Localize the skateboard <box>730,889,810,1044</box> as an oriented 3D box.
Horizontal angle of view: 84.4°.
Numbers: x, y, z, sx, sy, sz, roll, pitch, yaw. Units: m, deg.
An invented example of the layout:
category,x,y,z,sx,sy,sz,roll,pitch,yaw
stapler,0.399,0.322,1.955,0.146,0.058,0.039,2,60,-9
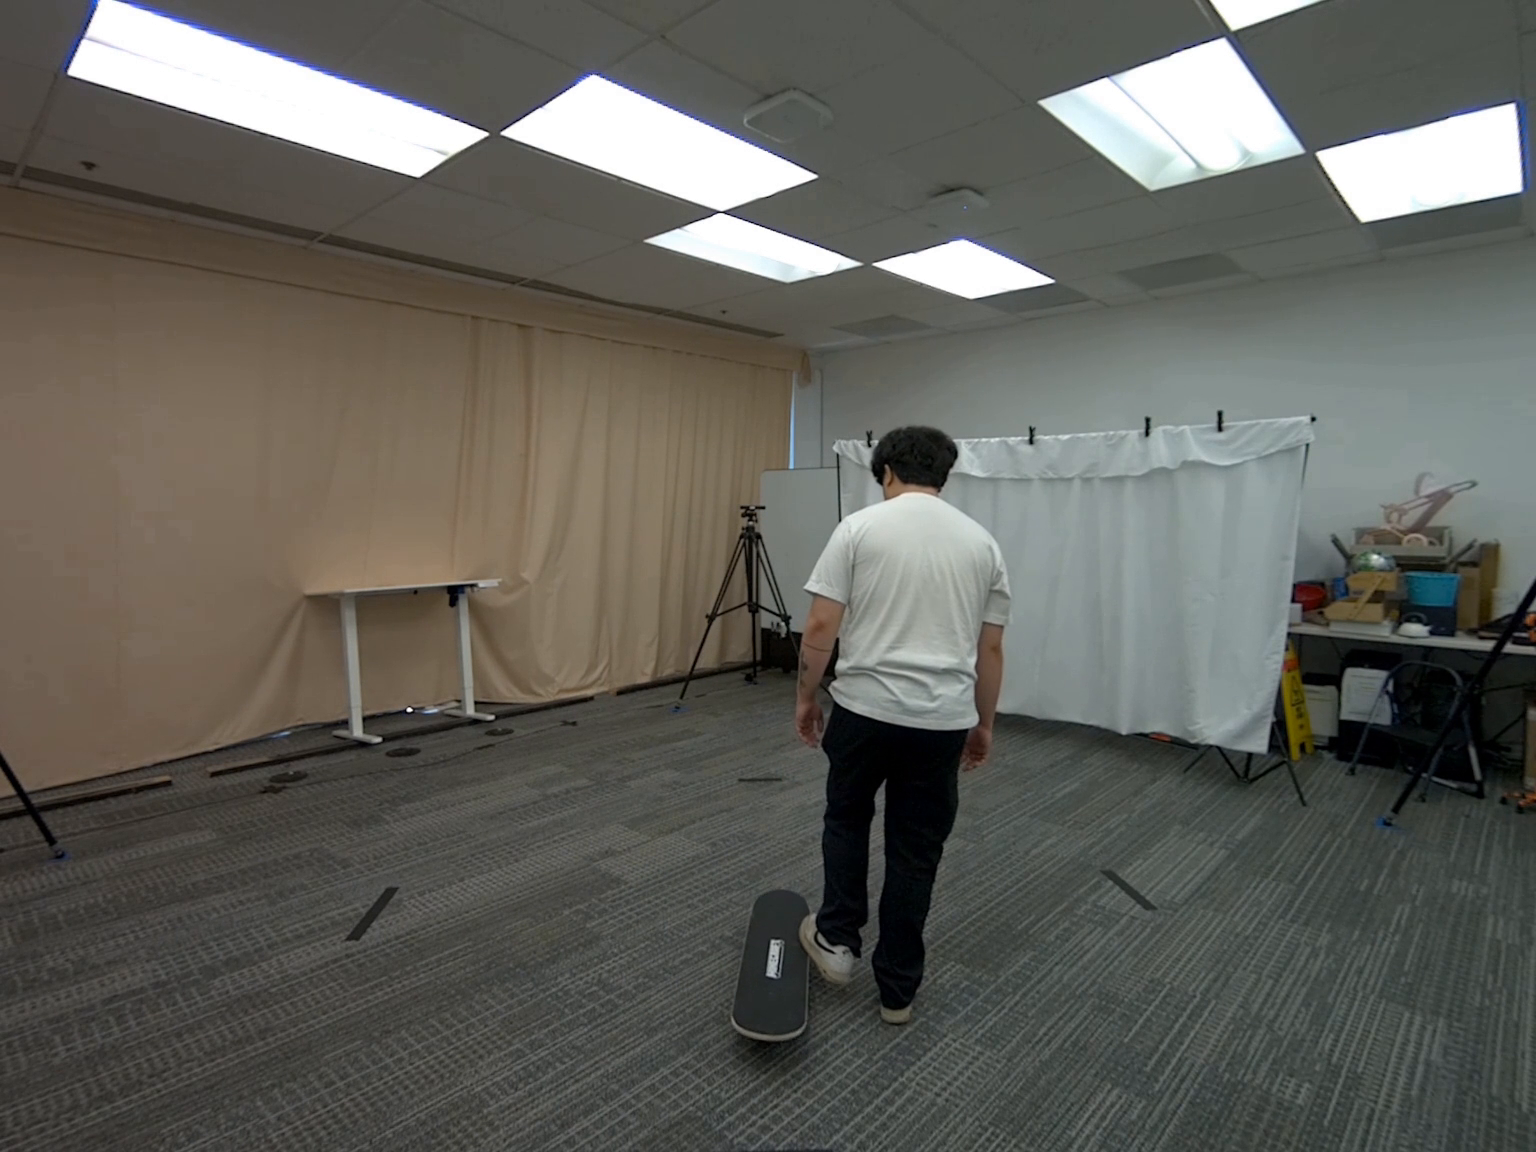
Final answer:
category,x,y,z,sx,sy,sz,roll,pitch,yaw
skateboard,0.025,1.135,2.431,0.195,0.110,0.782,1,5,4
